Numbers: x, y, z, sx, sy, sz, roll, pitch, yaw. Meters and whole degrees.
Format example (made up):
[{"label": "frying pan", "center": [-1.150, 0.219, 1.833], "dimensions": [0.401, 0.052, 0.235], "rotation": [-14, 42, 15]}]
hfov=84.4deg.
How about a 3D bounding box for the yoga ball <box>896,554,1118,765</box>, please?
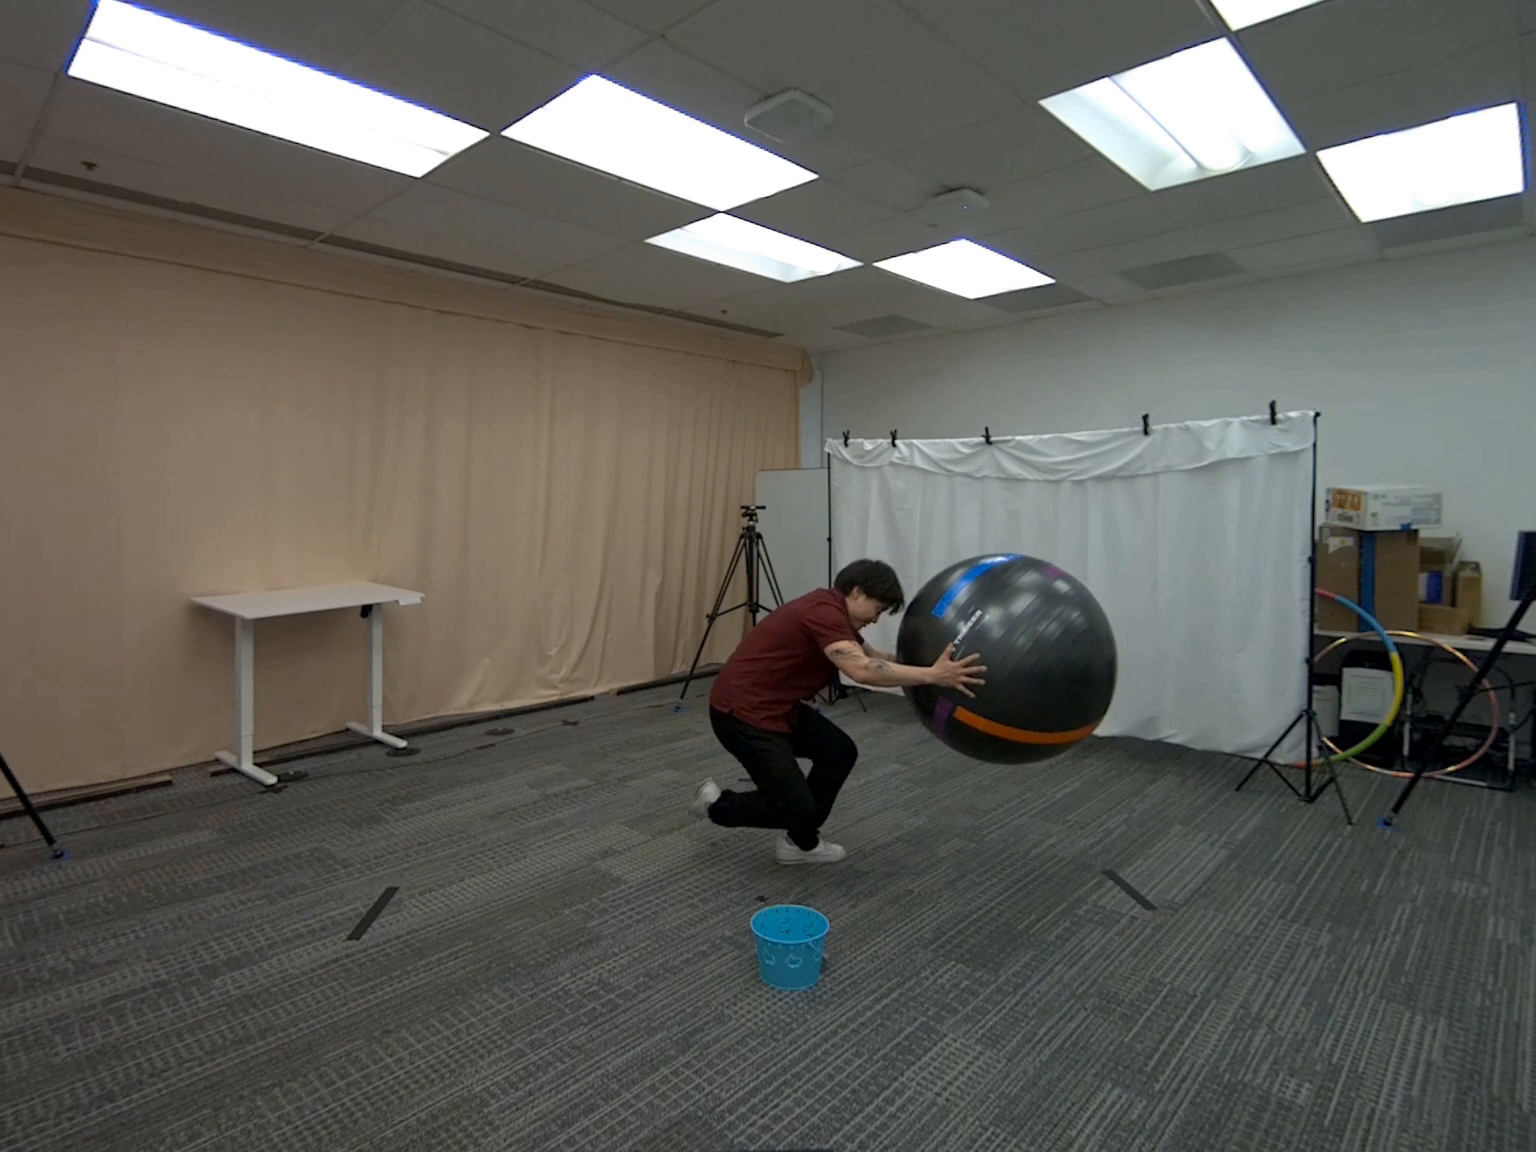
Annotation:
[{"label": "yoga ball", "center": [0.857, 0.313, 3.059], "dimensions": [0.757, 0.756, 0.760], "rotation": [0, 4, -2]}]
